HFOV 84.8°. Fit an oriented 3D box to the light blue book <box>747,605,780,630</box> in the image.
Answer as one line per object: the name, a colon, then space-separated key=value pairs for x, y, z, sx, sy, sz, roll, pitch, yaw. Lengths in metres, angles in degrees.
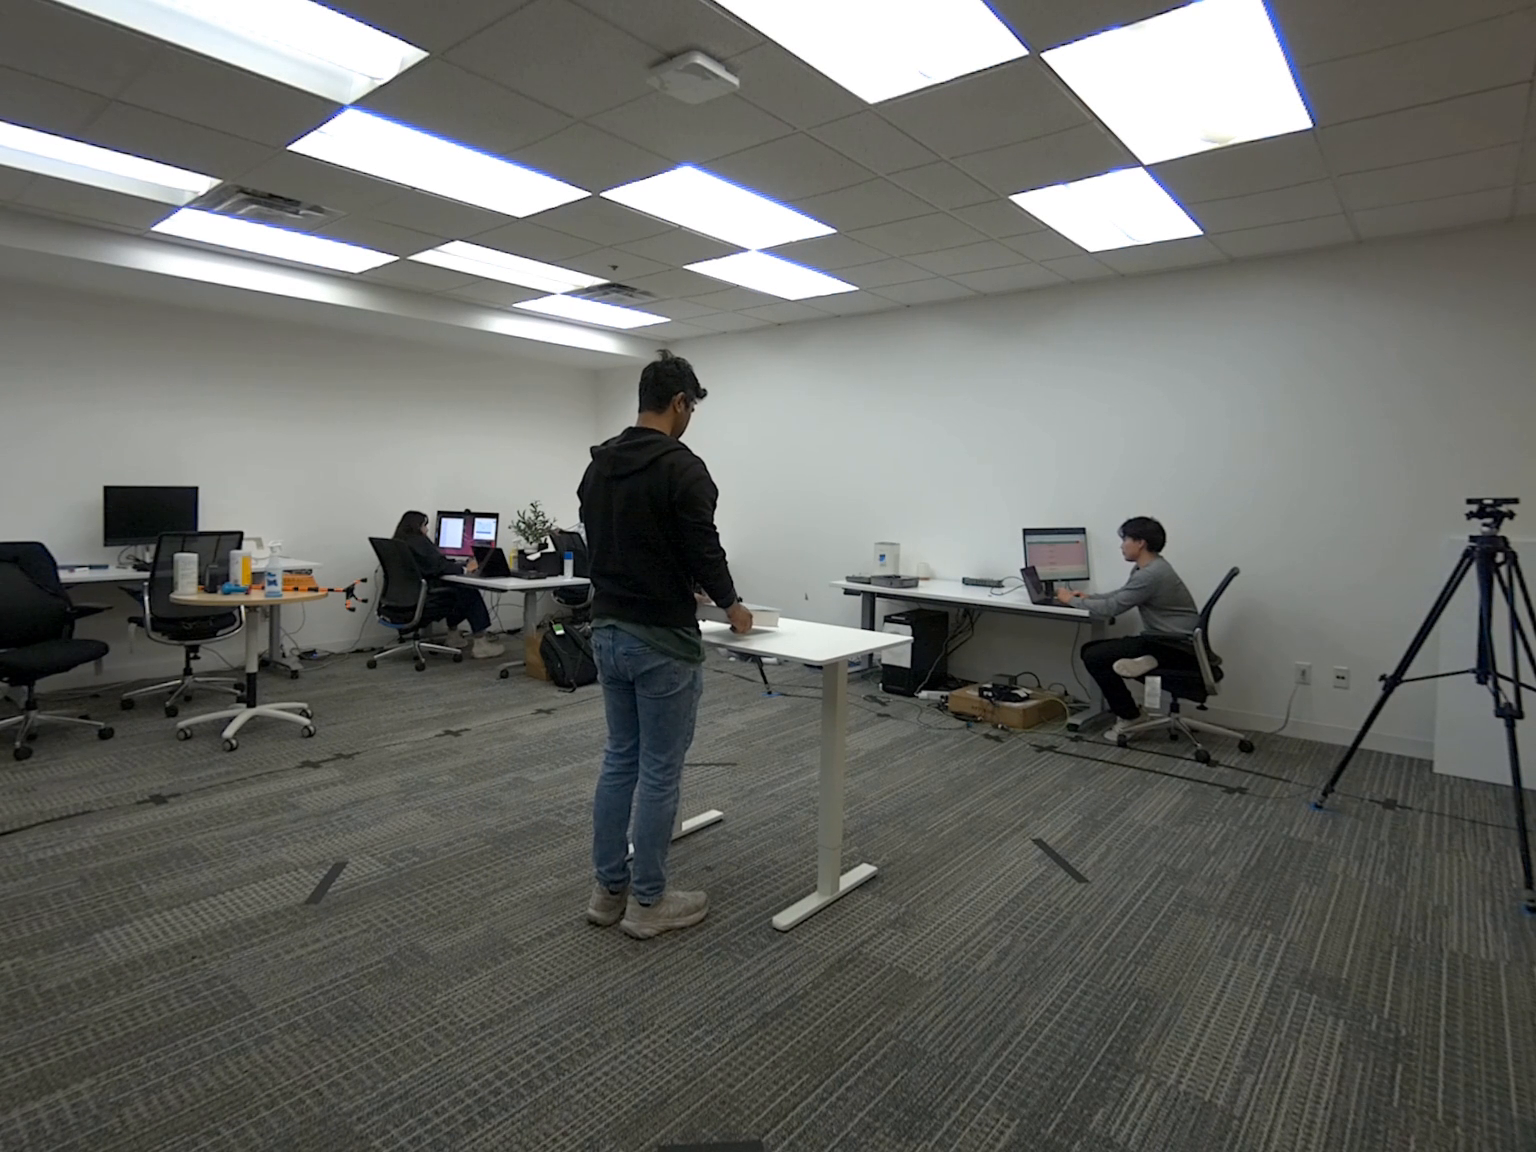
light blue book: x=-0.111 y=0.135 z=3.009 sx=0.198 sy=0.059 sz=0.252 roll=9 pitch=4 yaw=41
